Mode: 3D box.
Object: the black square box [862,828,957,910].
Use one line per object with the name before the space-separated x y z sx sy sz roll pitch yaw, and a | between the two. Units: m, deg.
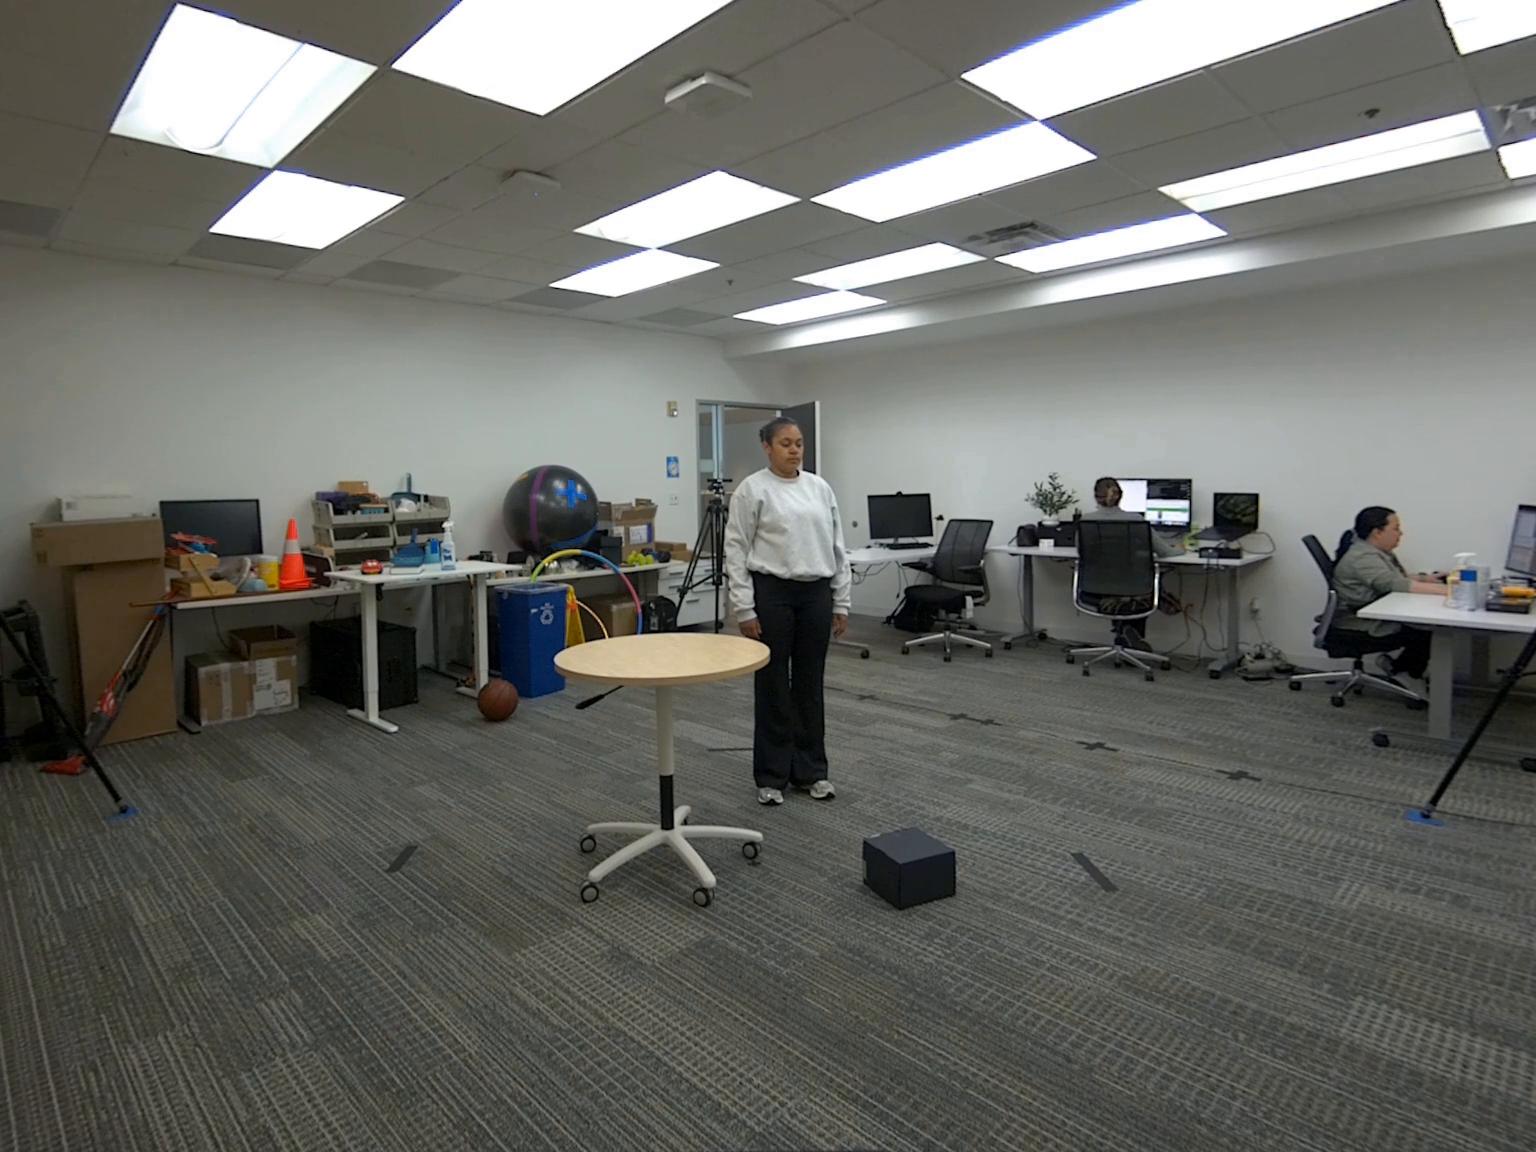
black square box | 0.478 0.979 2.882 0.223 0.155 0.222 -4 6 -25
